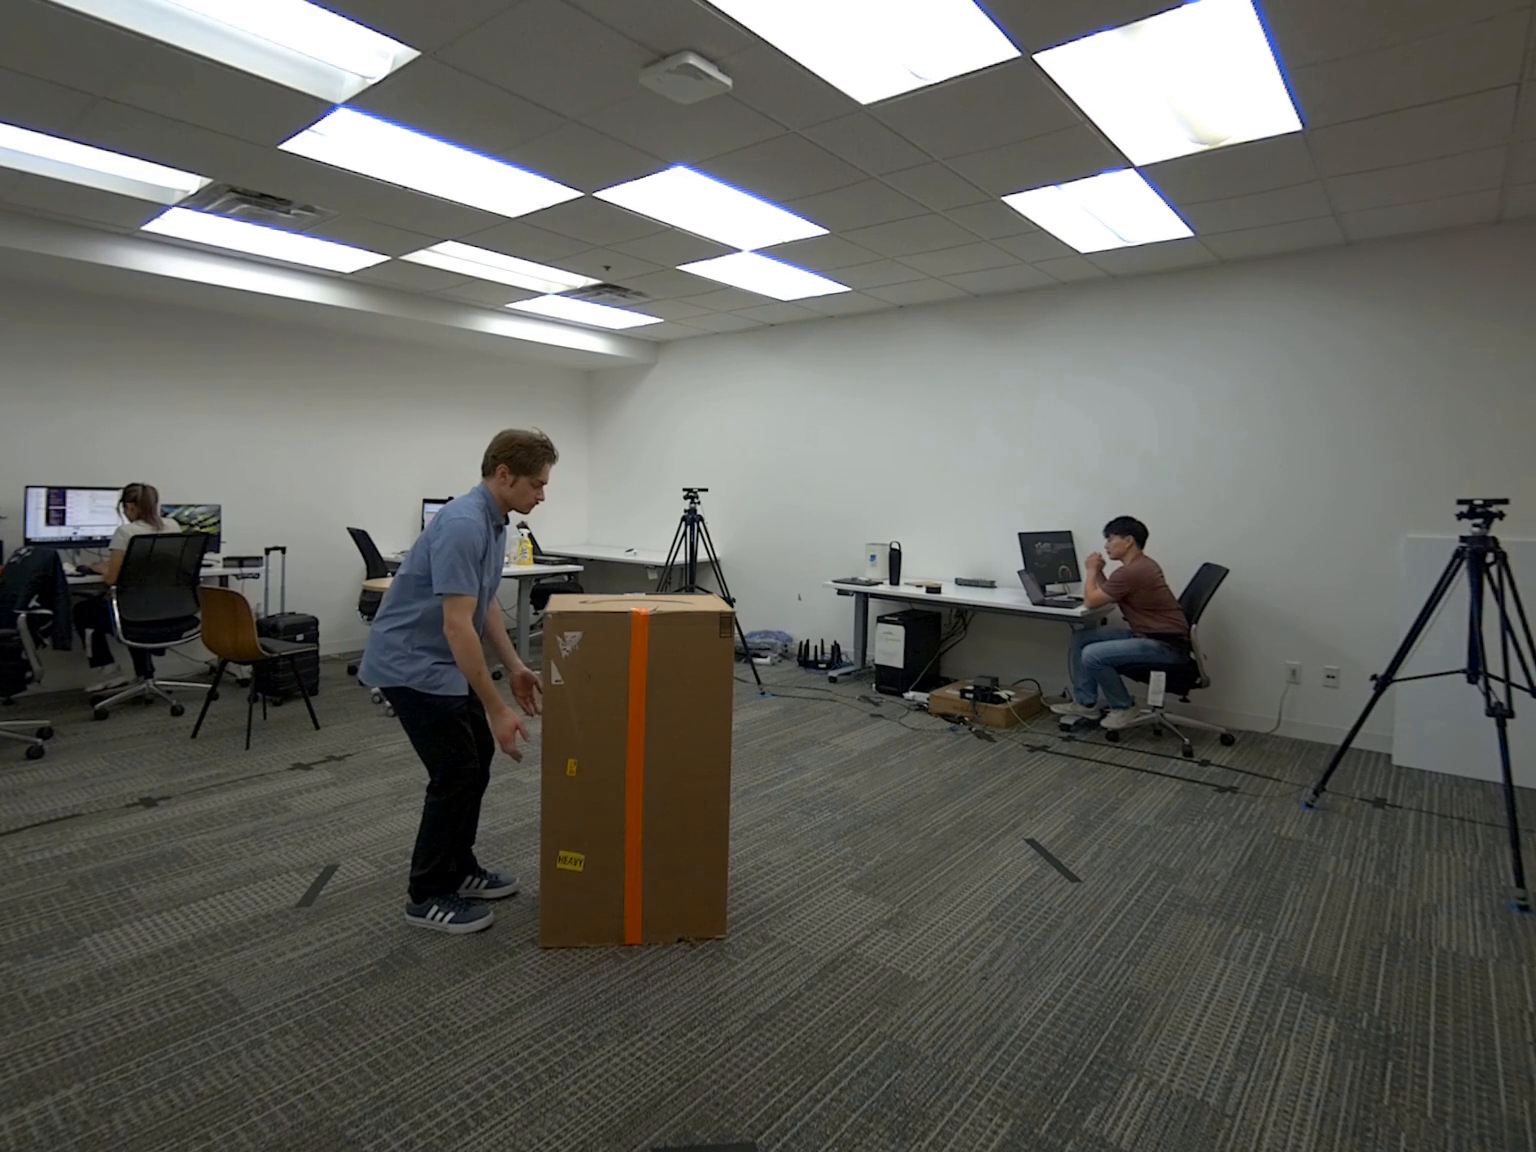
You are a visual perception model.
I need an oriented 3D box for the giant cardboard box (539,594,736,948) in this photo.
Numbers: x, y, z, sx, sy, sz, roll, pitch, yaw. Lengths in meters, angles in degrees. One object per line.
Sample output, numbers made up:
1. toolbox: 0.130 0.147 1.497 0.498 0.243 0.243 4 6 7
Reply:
1. giant cardboard box: -0.445 0.591 2.766 0.572 1.023 0.431 1 3 -9
